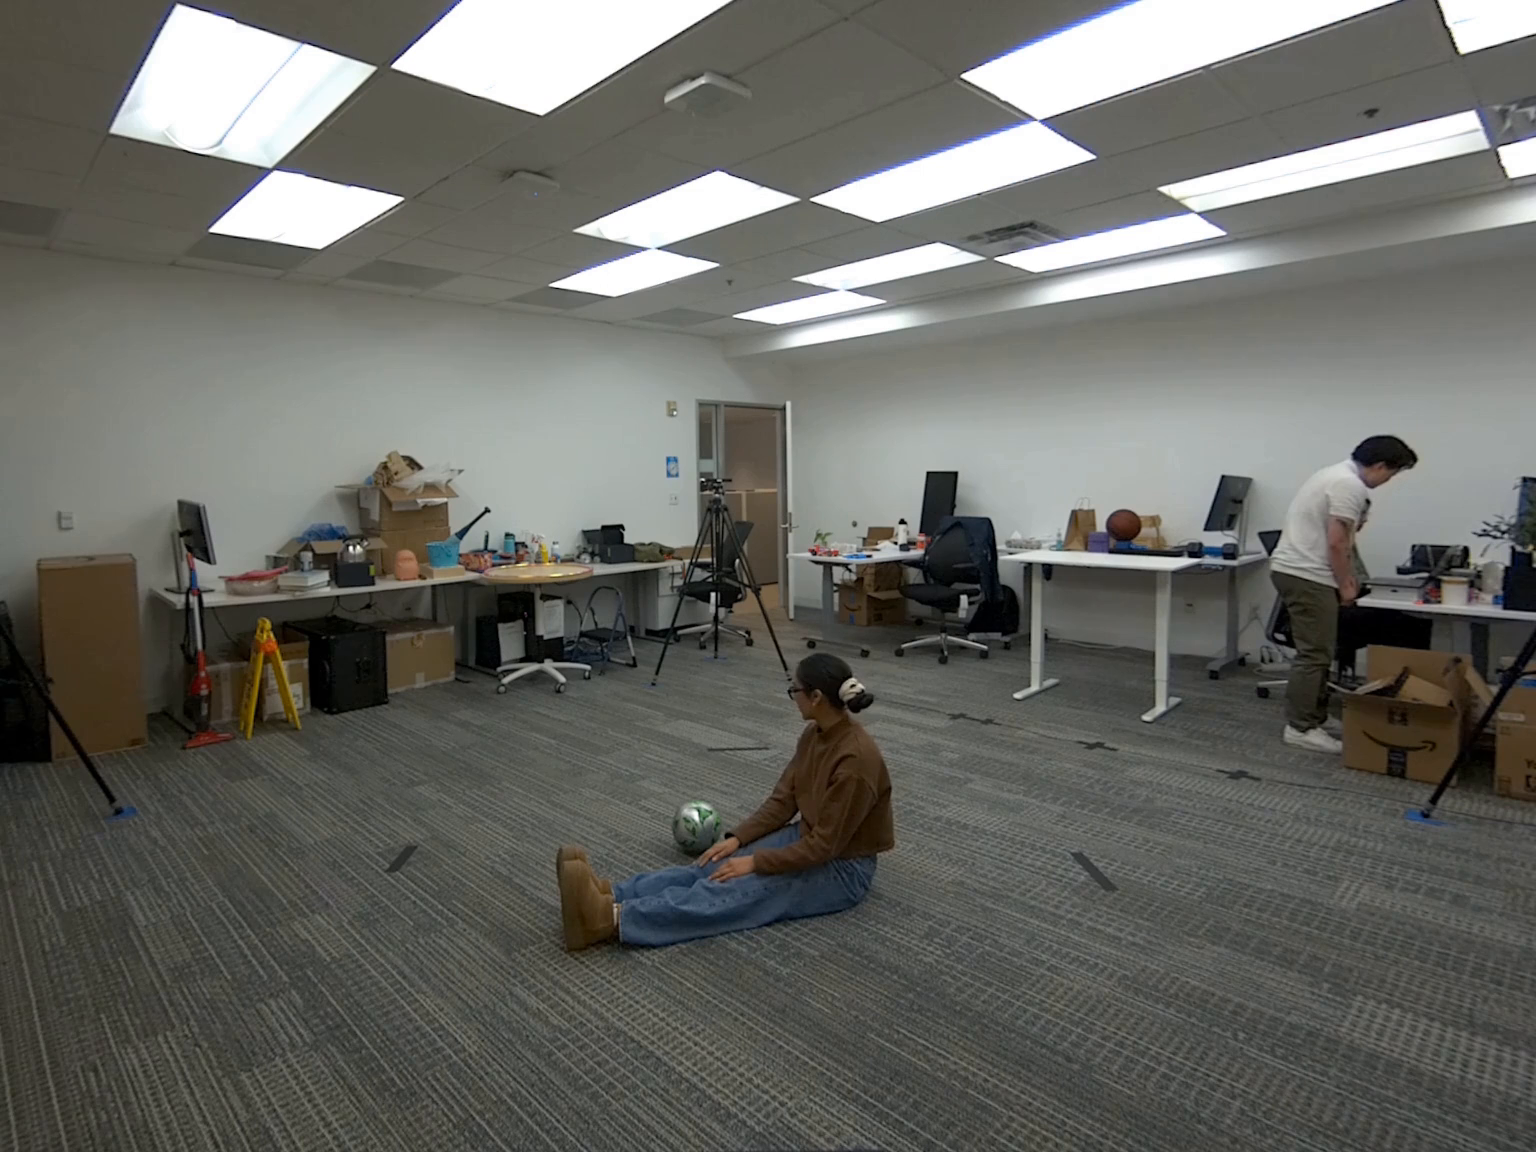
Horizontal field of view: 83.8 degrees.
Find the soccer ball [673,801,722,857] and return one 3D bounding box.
[{"bbox_3d":[-0.268,0.943,3.217,0.187,0.187,0.188,-1,5,-2],"label":"soccer ball"}]
